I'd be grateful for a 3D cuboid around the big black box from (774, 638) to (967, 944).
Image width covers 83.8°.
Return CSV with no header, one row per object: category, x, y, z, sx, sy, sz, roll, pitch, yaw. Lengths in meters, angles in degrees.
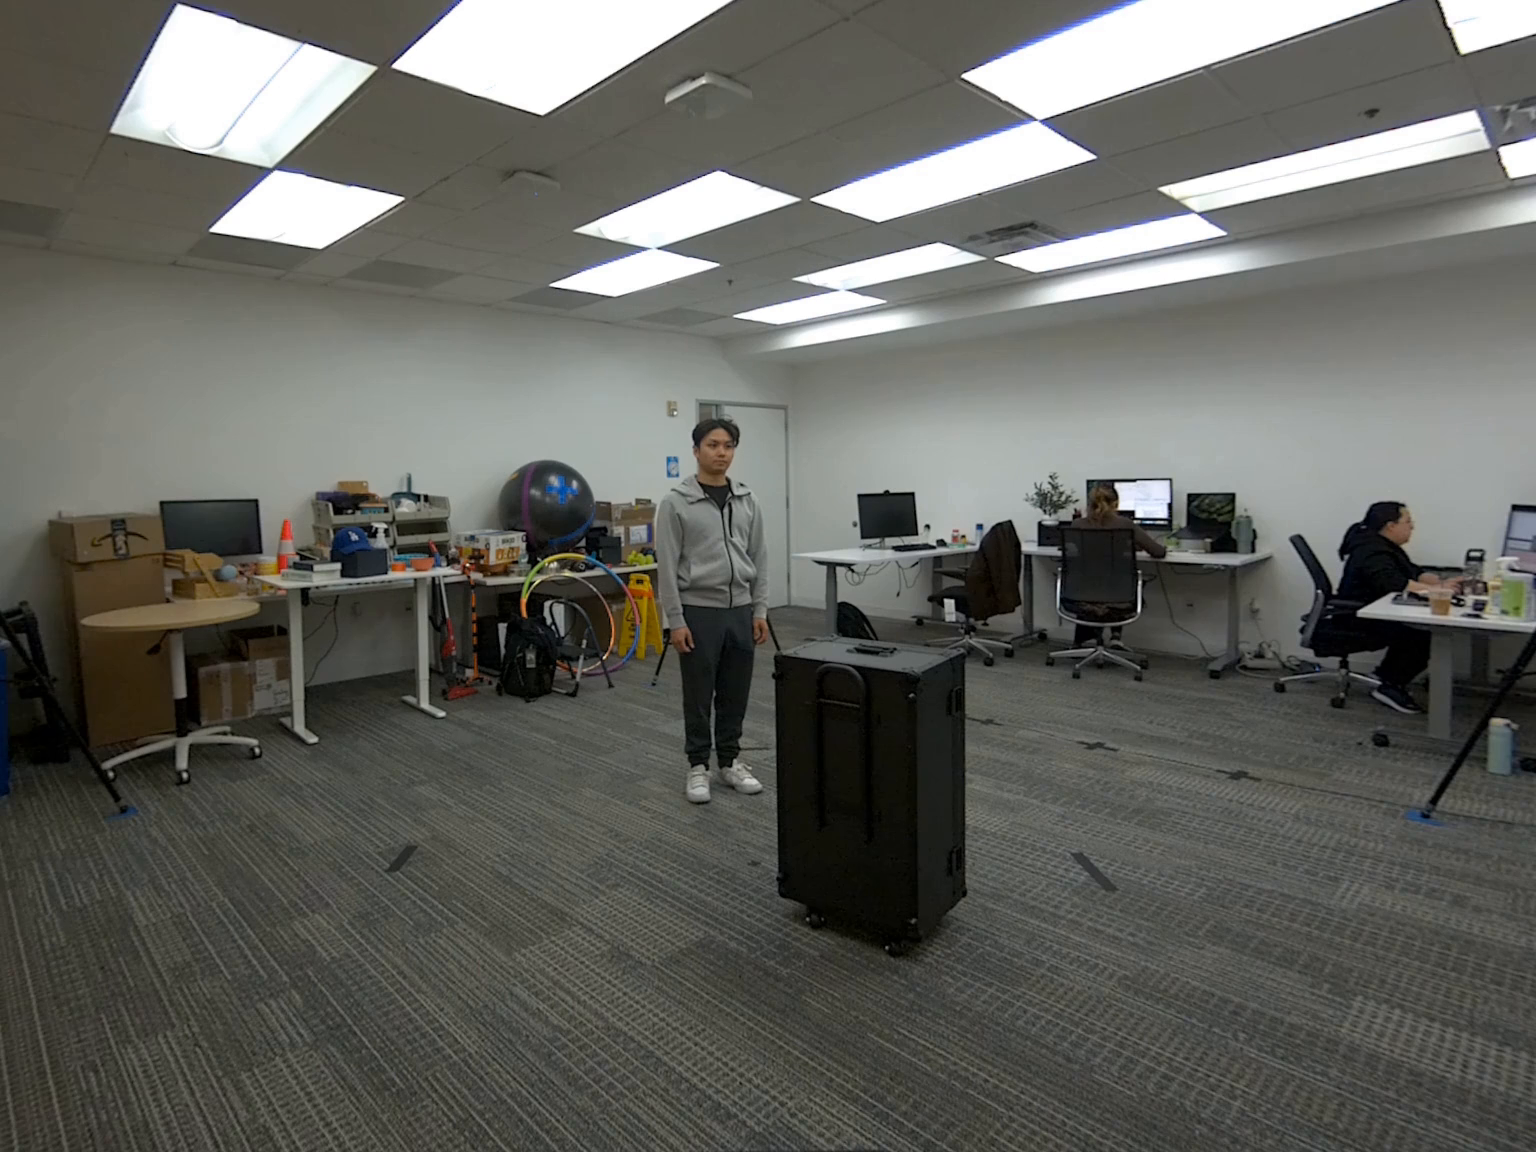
big black box,0.328,0.663,2.671,0.536,0.858,0.386,2,6,36
